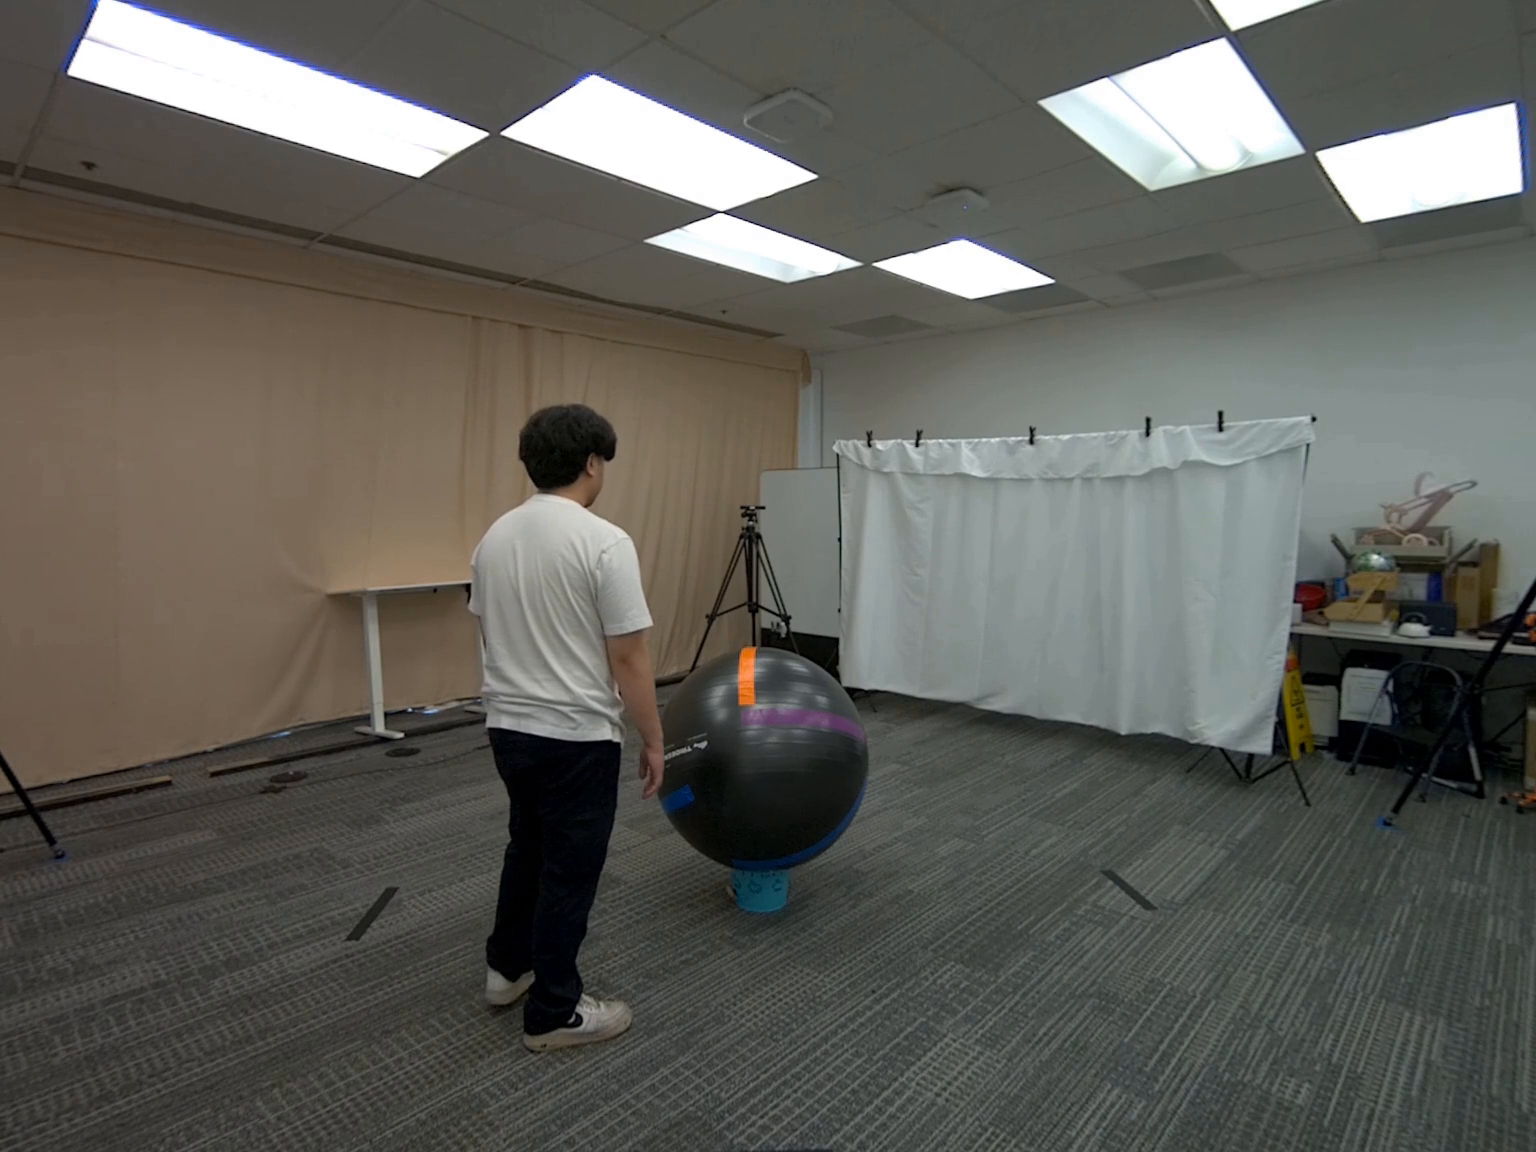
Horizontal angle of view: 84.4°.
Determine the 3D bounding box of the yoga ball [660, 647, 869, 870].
[{"bbox_3d":[-0.030,0.635,2.953,0.757,0.756,0.761,0,4,-2],"label":"yoga ball"}]
